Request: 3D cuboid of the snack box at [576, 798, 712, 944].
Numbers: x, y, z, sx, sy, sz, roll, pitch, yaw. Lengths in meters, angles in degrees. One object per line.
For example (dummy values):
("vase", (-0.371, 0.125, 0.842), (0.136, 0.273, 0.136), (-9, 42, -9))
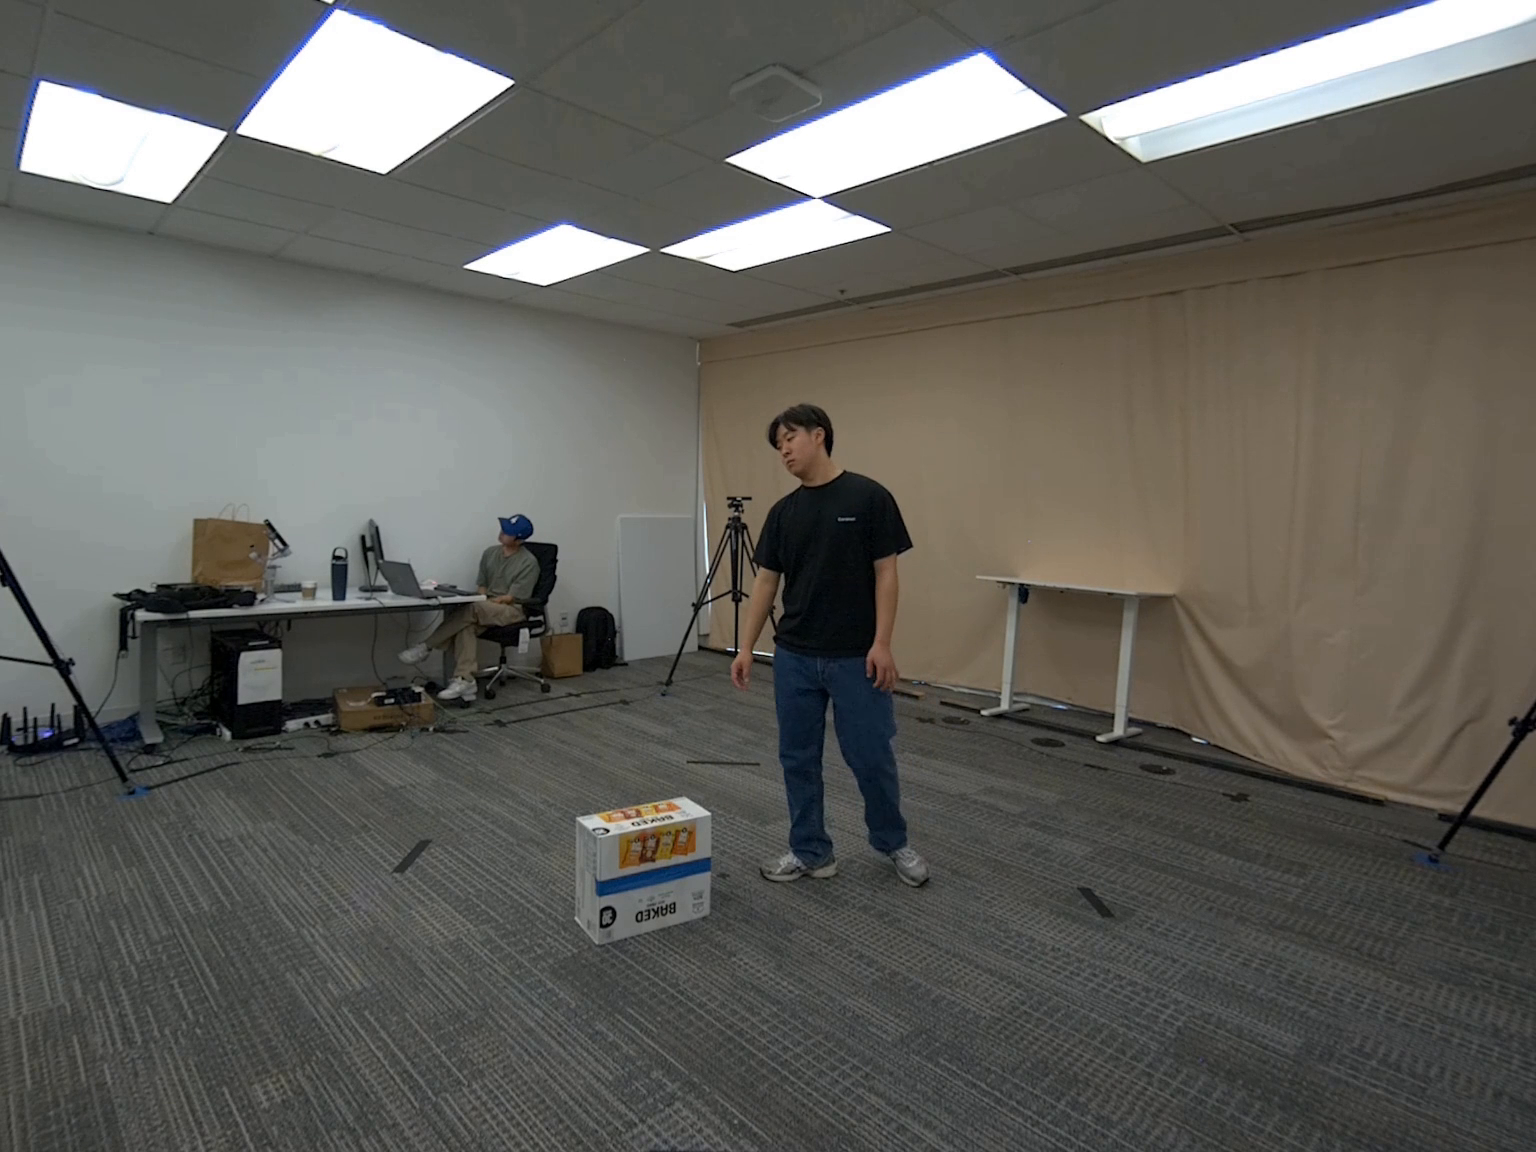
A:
("snack box", (-0.416, 0.963, 2.777), (0.396, 0.340, 0.210), (-1, 3, -32))
